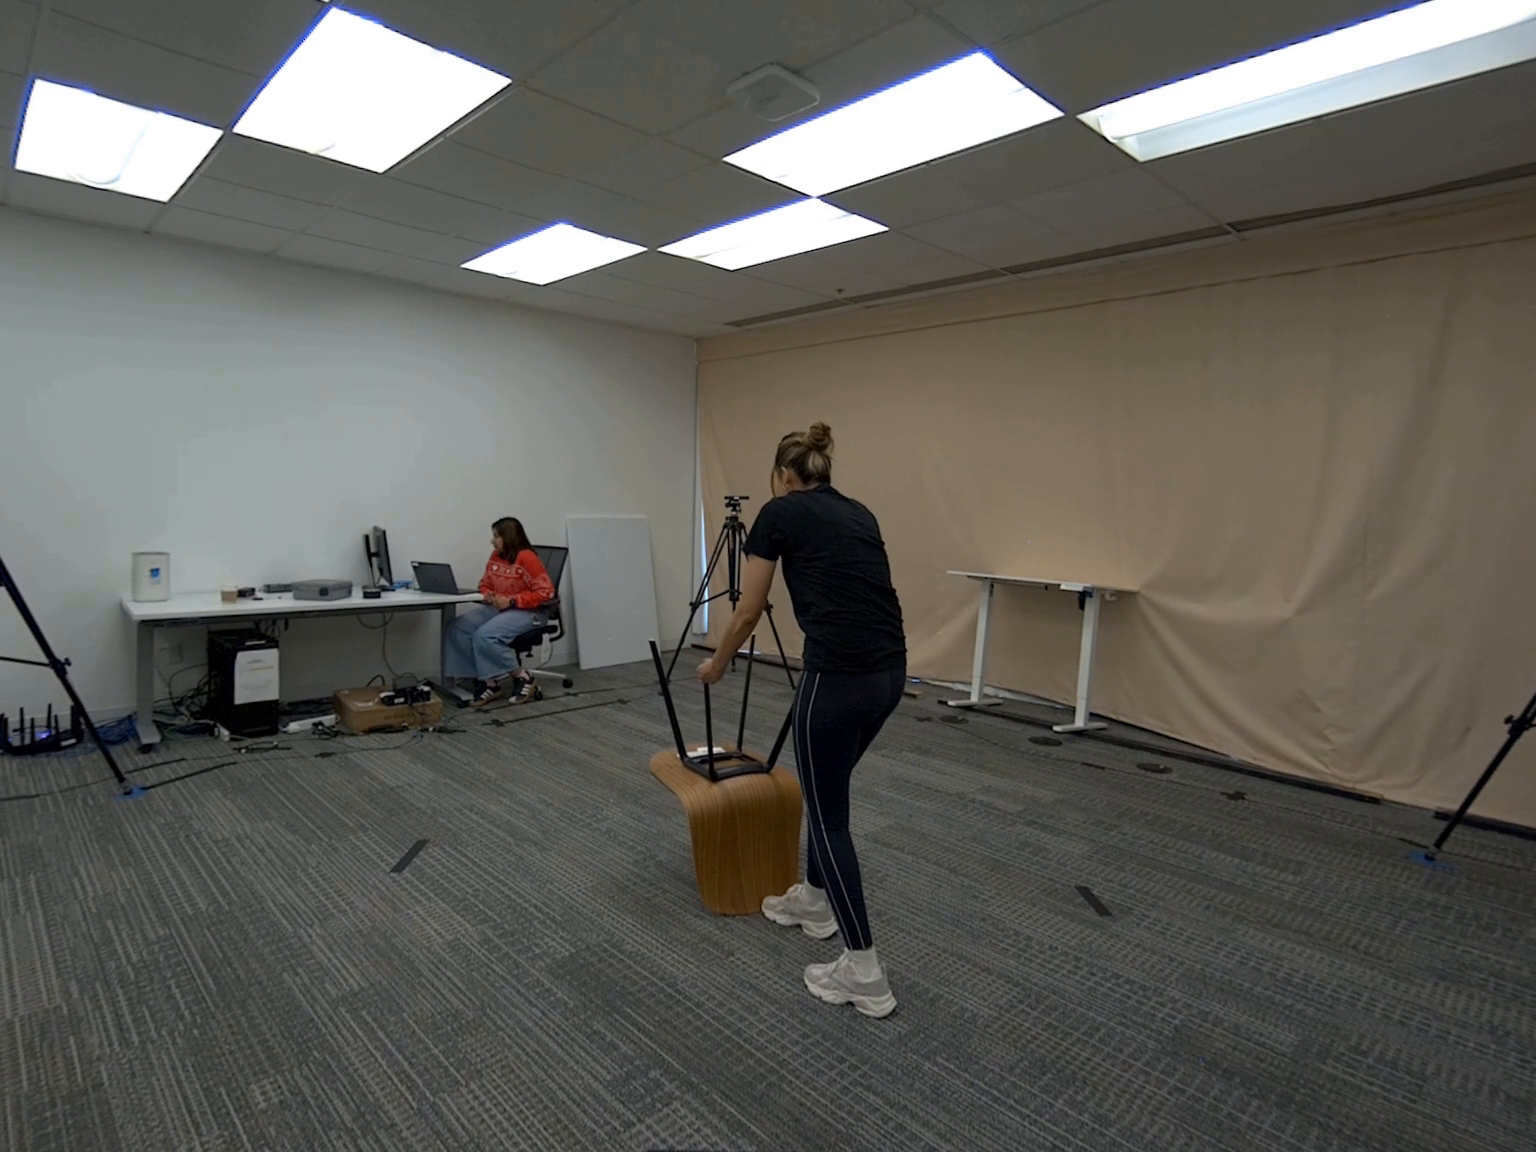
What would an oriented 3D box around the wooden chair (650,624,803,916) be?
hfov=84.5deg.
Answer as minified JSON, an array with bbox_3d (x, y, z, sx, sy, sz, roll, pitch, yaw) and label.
[{"bbox_3d":[-0.157,0.686,3.055,0.468,0.876,0.534,-1,2,-31],"label":"wooden chair"}]
